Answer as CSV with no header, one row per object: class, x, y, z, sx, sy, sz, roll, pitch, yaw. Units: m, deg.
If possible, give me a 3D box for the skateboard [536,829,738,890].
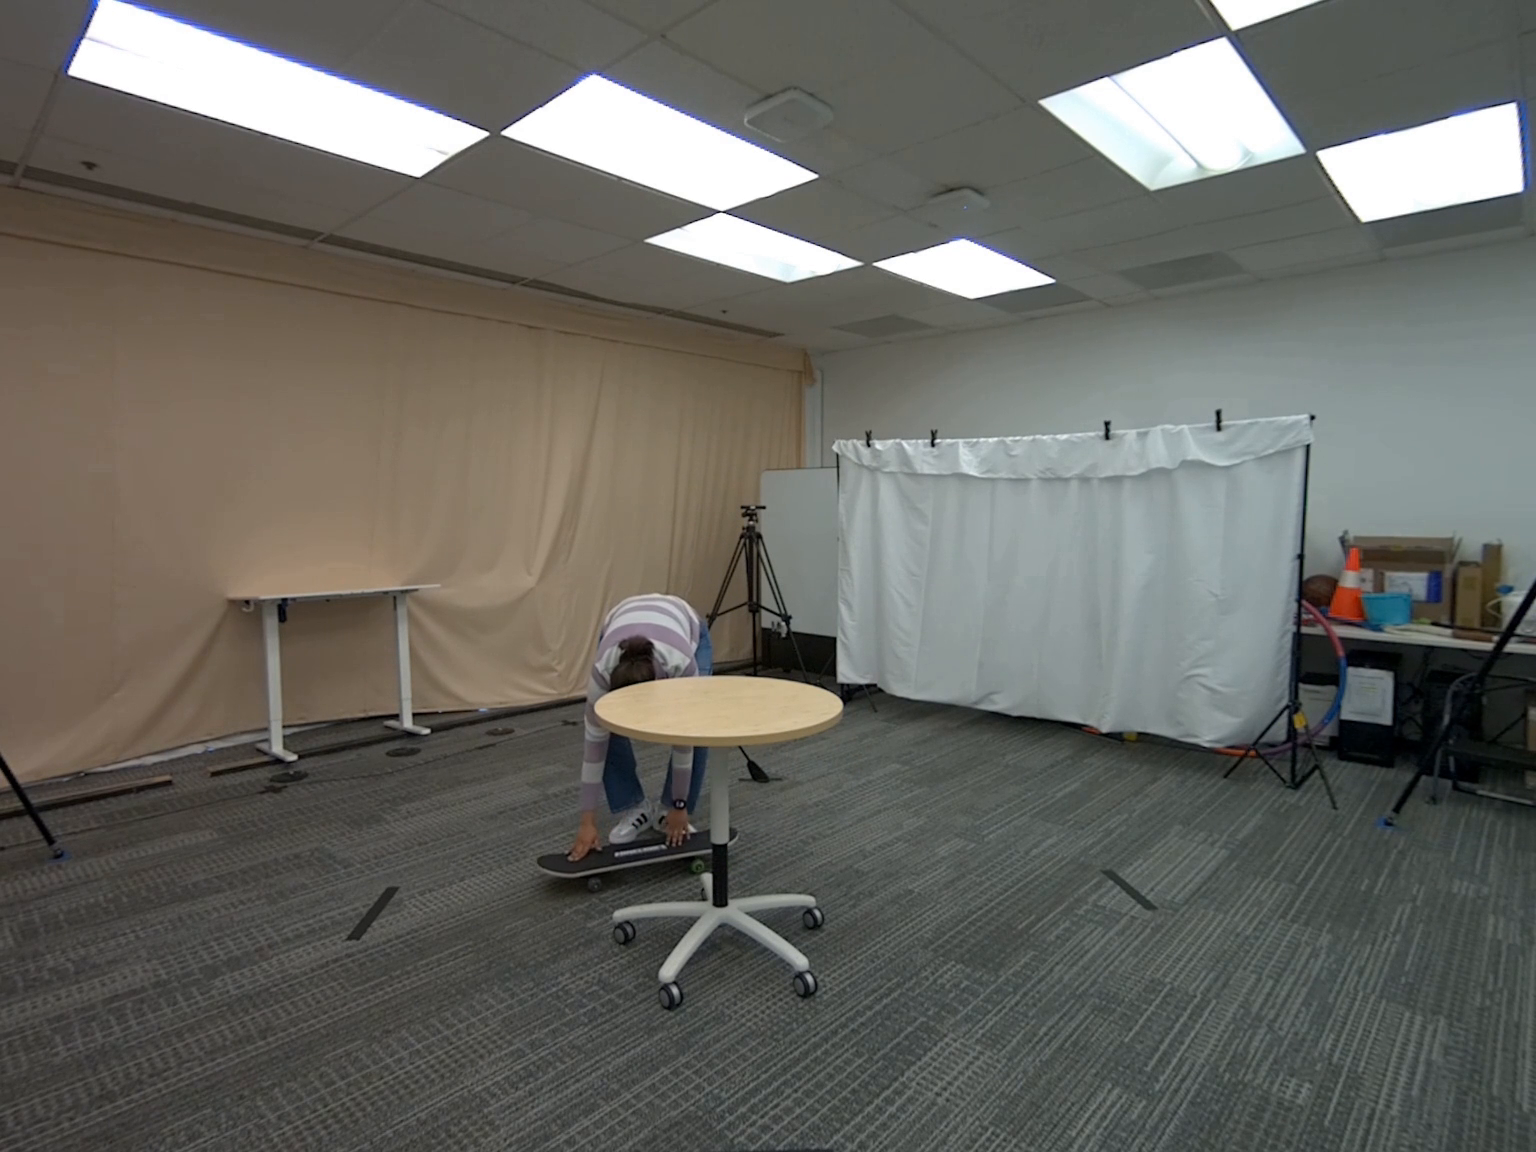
skateboard,-0.475,1.072,3.189,0.769,0.110,0.198,-3,5,-22
